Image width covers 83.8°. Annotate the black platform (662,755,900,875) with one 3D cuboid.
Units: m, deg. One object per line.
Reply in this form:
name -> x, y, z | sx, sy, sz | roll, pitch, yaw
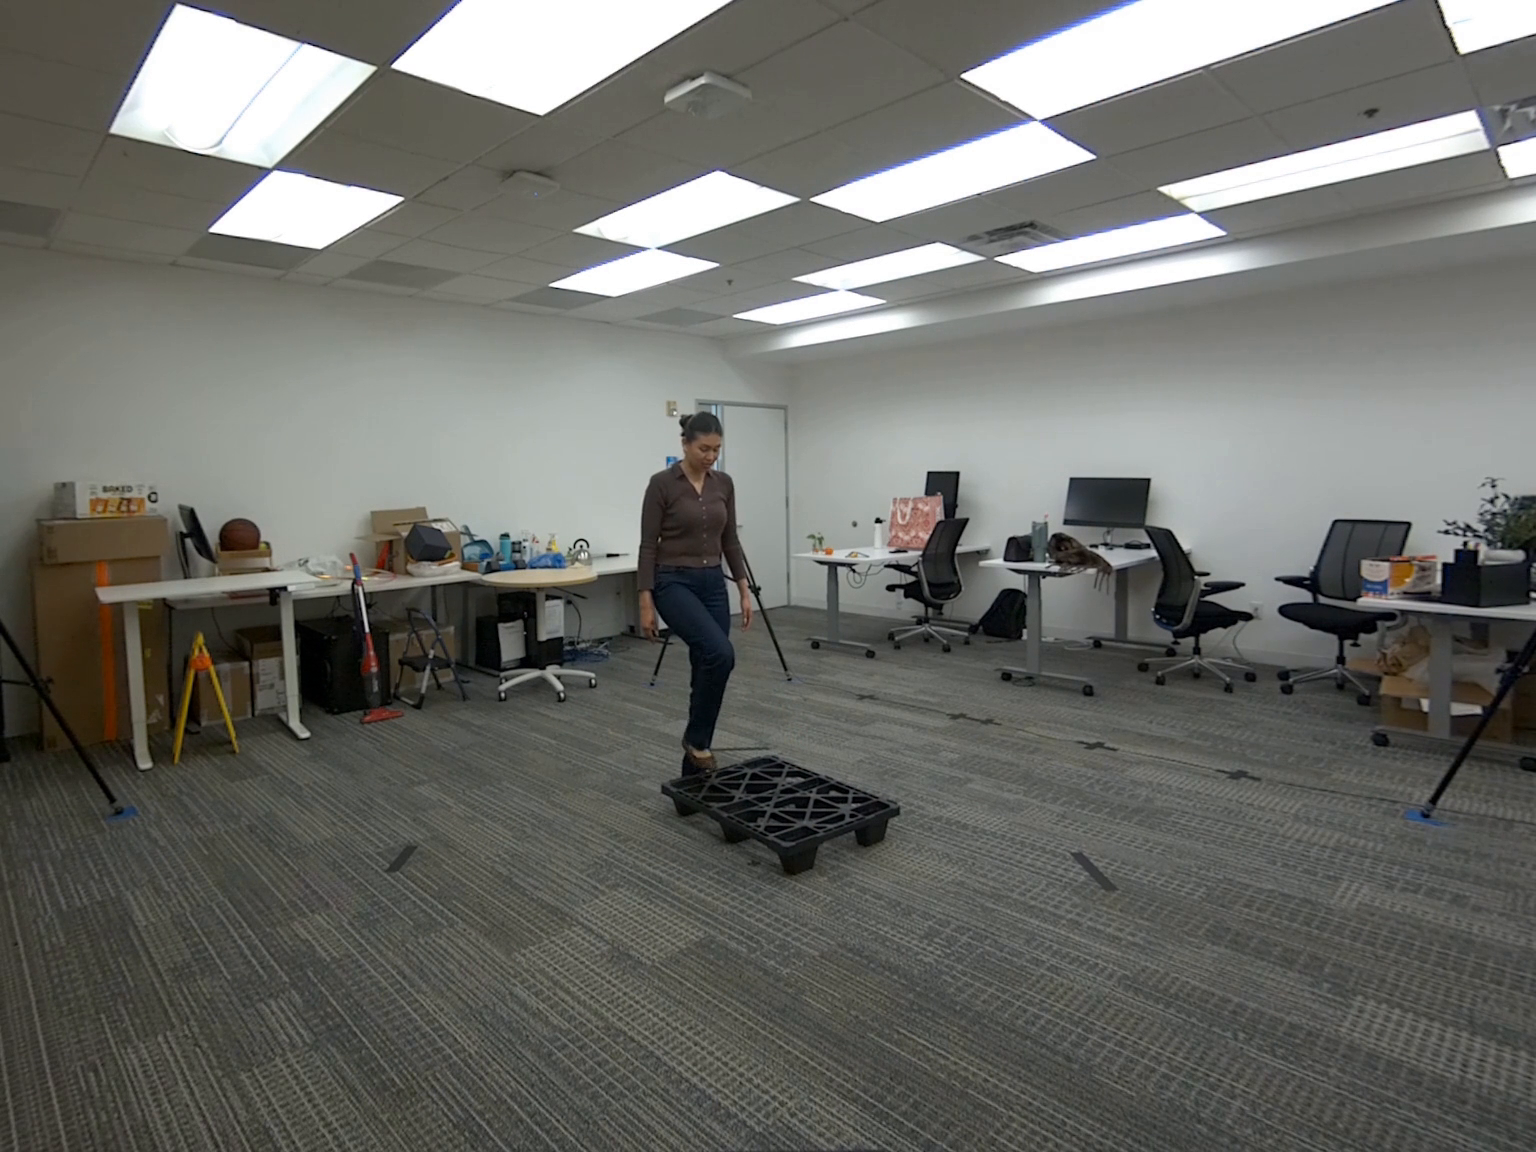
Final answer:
black platform -> 0.034, 0.941, 3.422 | 0.590, 0.142, 0.830 | -7, 8, -38
